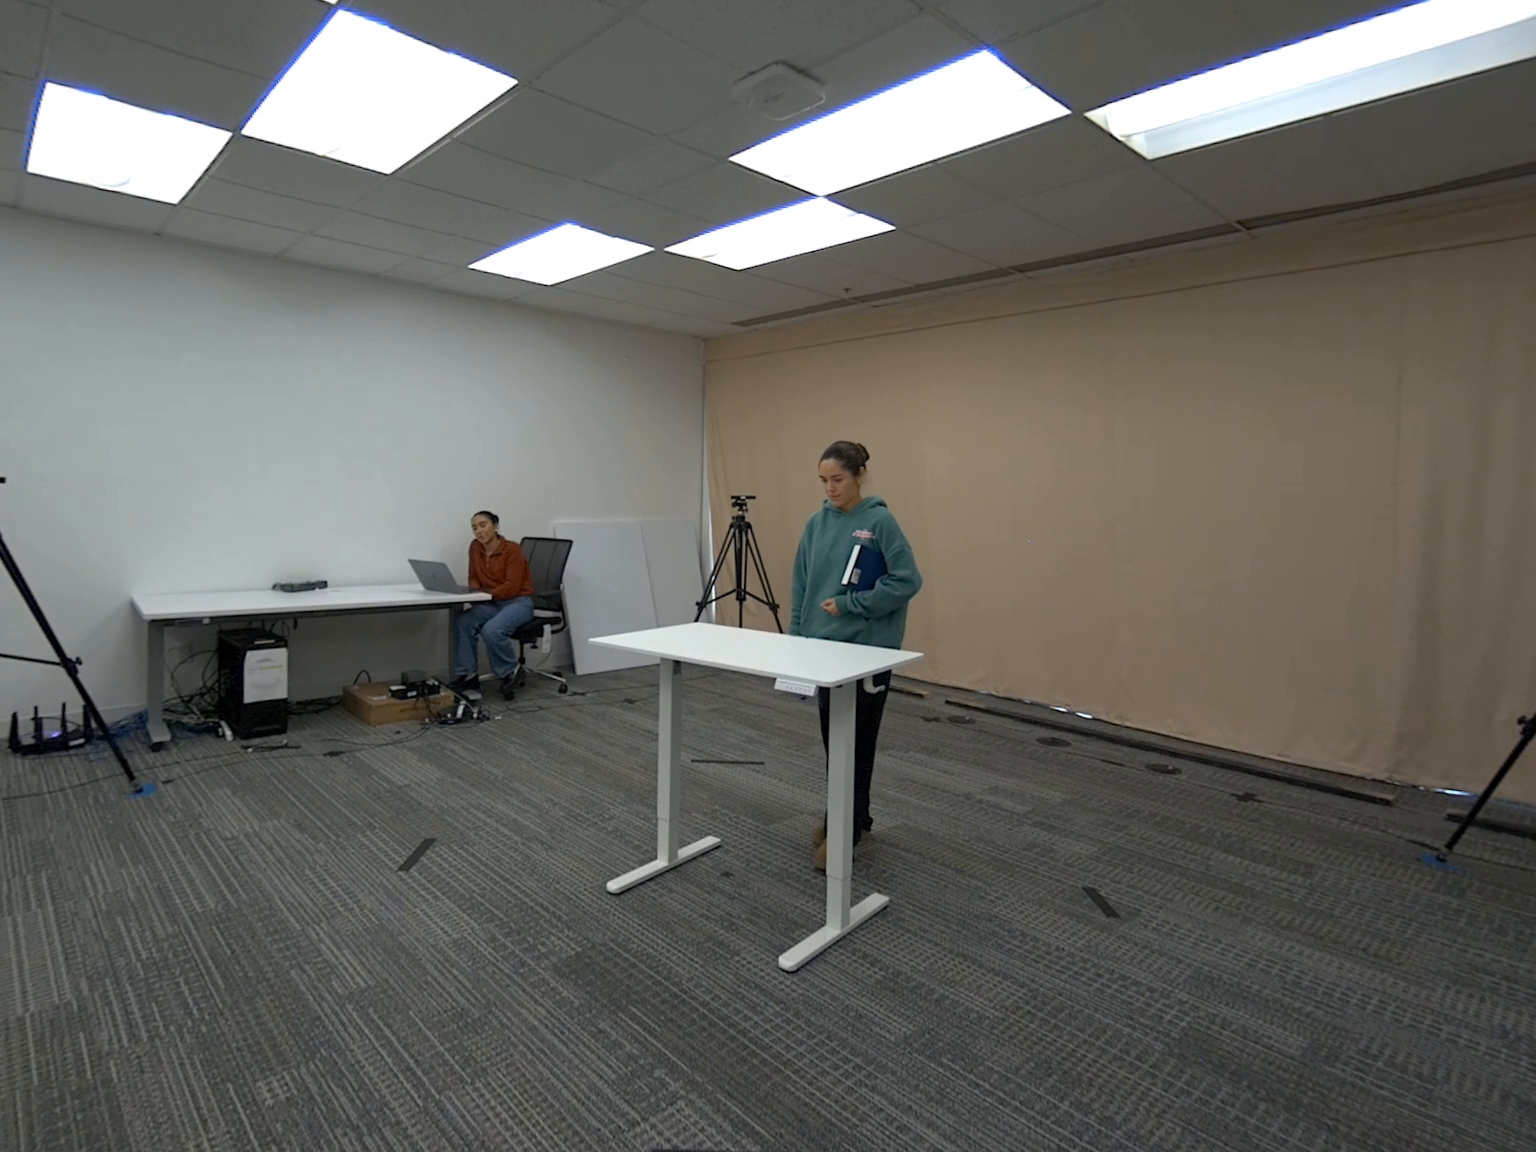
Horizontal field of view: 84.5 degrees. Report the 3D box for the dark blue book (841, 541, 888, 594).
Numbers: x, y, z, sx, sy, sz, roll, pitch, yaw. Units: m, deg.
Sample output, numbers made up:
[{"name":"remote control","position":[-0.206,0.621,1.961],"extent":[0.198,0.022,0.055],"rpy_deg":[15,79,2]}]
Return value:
[{"name":"dark blue book","position":[0.392,-0.009,3.167],"extent":[0.239,0.164,0.046],"rpy_deg":[22,-5,-25]}]
